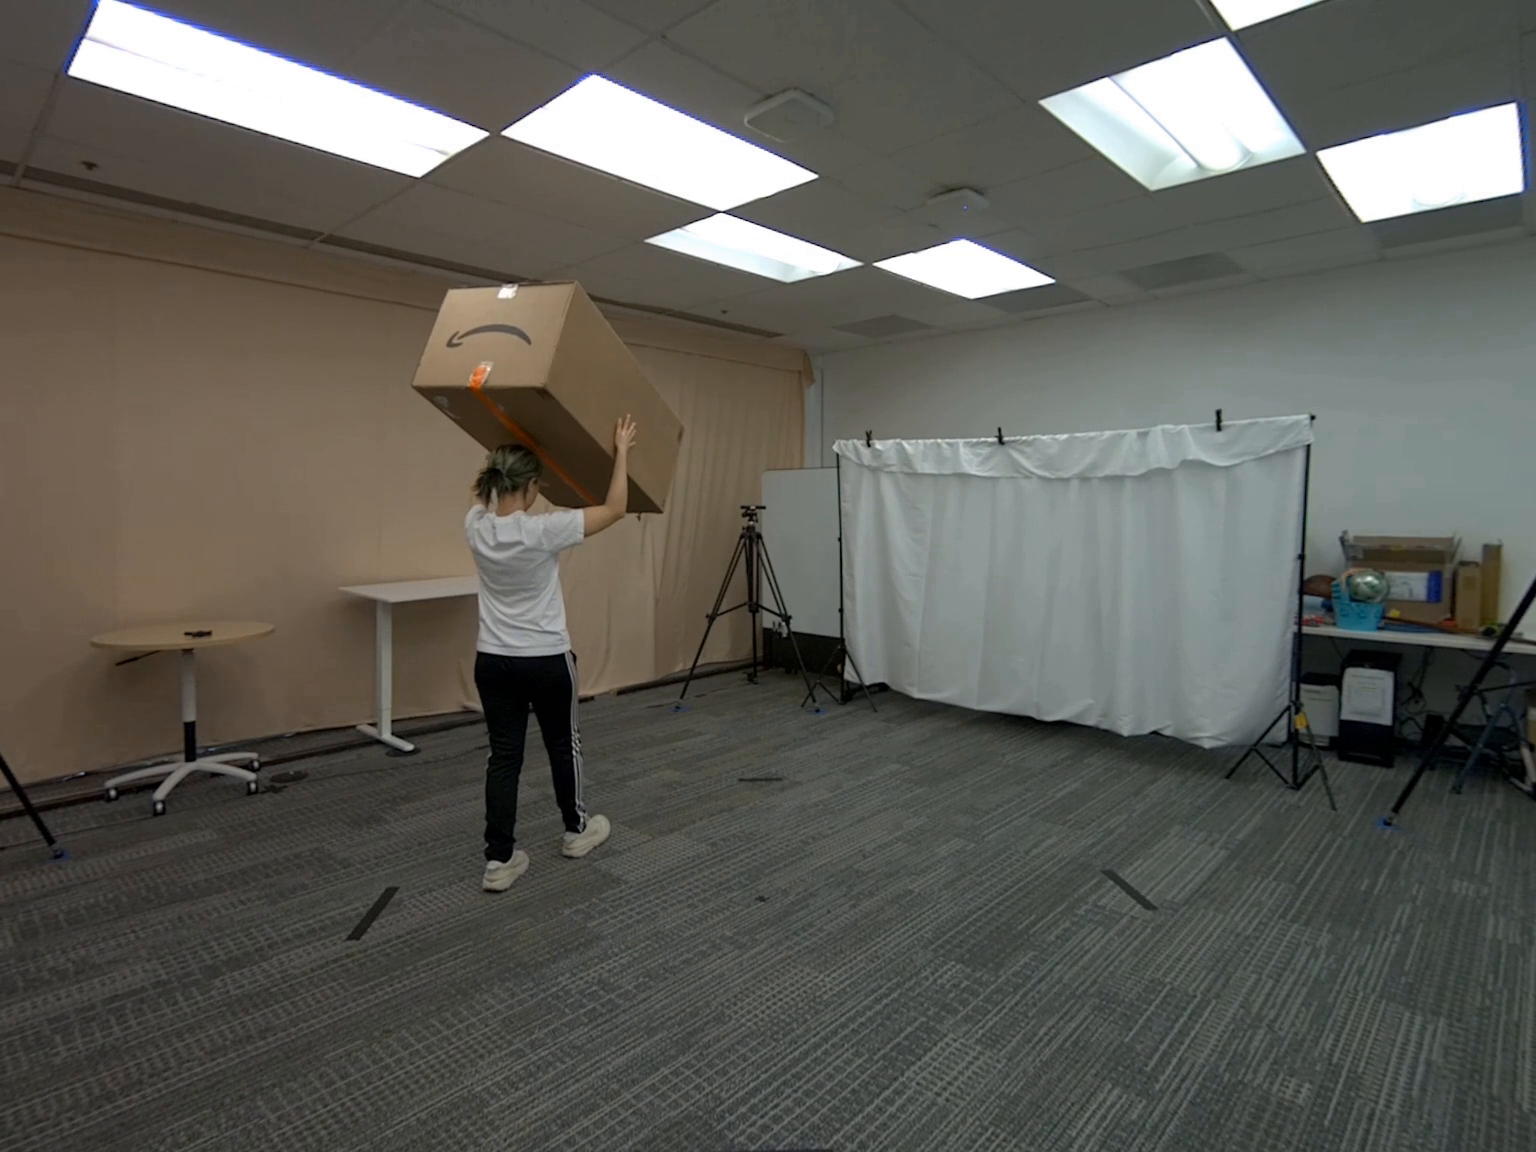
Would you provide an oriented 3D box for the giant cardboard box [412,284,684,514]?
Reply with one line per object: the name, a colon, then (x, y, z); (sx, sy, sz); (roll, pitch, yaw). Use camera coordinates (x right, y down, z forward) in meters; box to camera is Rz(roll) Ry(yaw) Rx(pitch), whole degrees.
giant cardboard box: (-0.813, -0.660, 3.380); (0.598, 0.450, 0.996); (5, -20, 21)
